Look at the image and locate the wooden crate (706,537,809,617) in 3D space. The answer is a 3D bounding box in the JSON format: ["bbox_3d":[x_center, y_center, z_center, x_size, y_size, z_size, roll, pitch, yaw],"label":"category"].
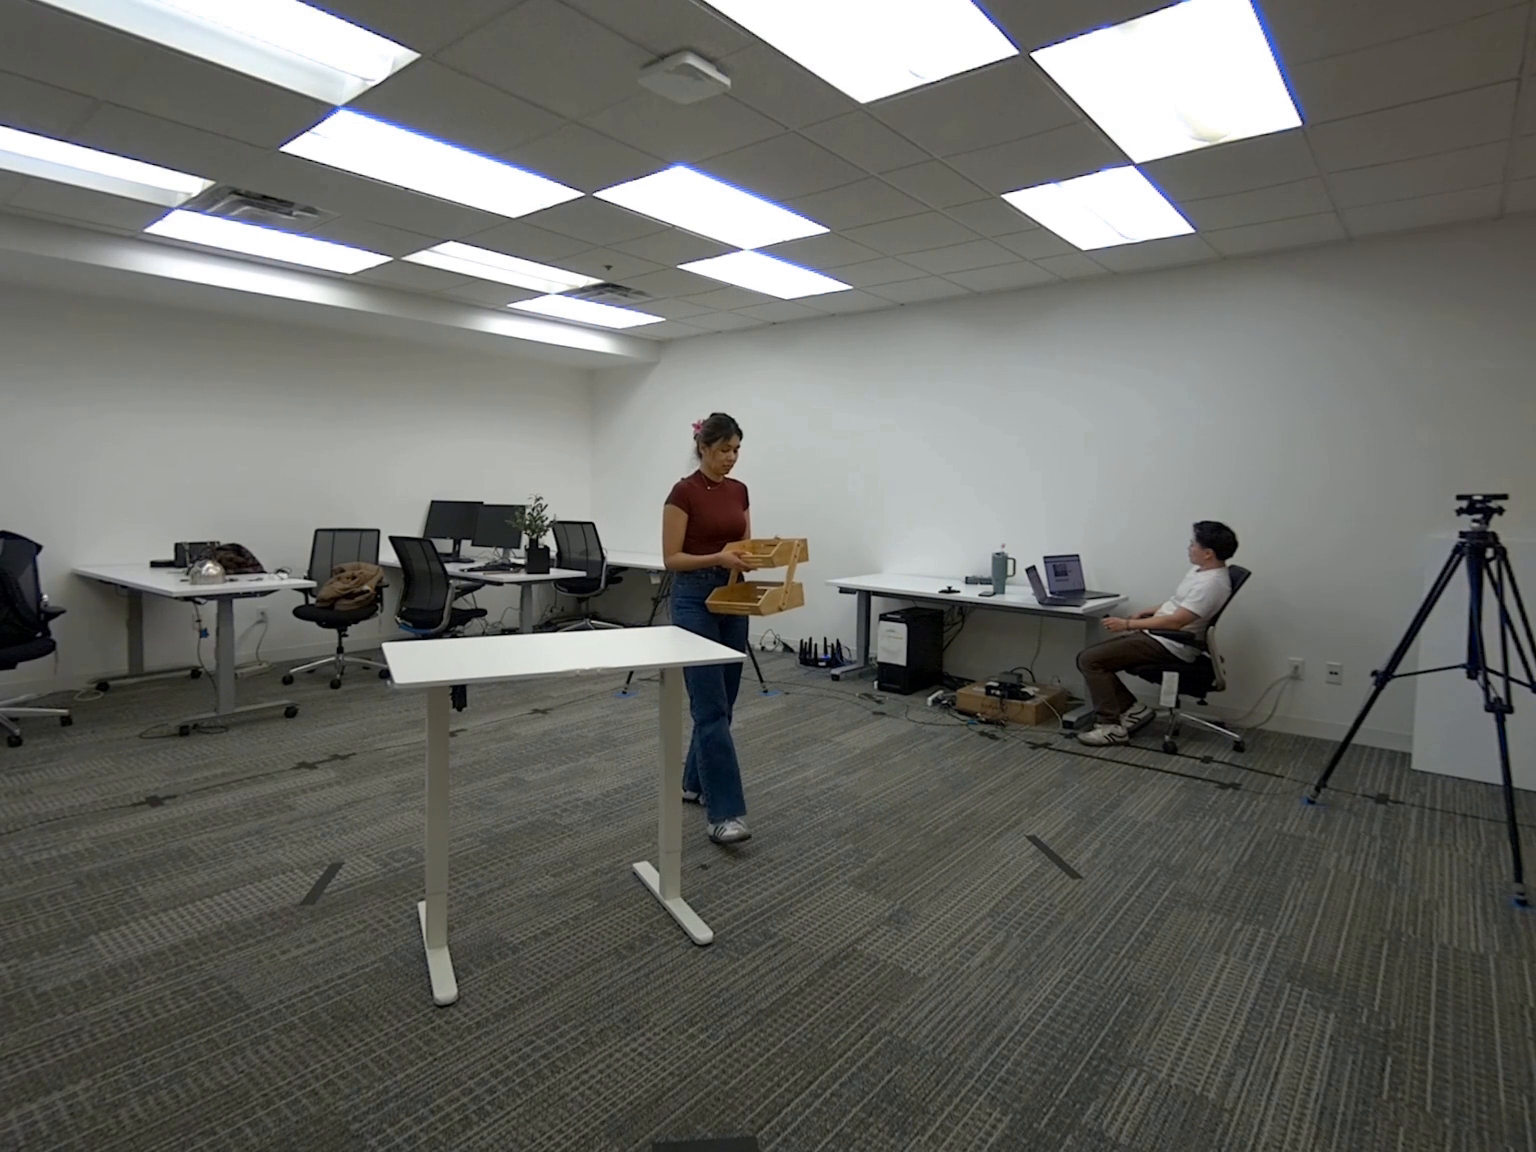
[{"bbox_3d":[-0.056,-0.009,3.350,0.335,0.272,0.294,0,7,44],"label":"wooden crate"}]
